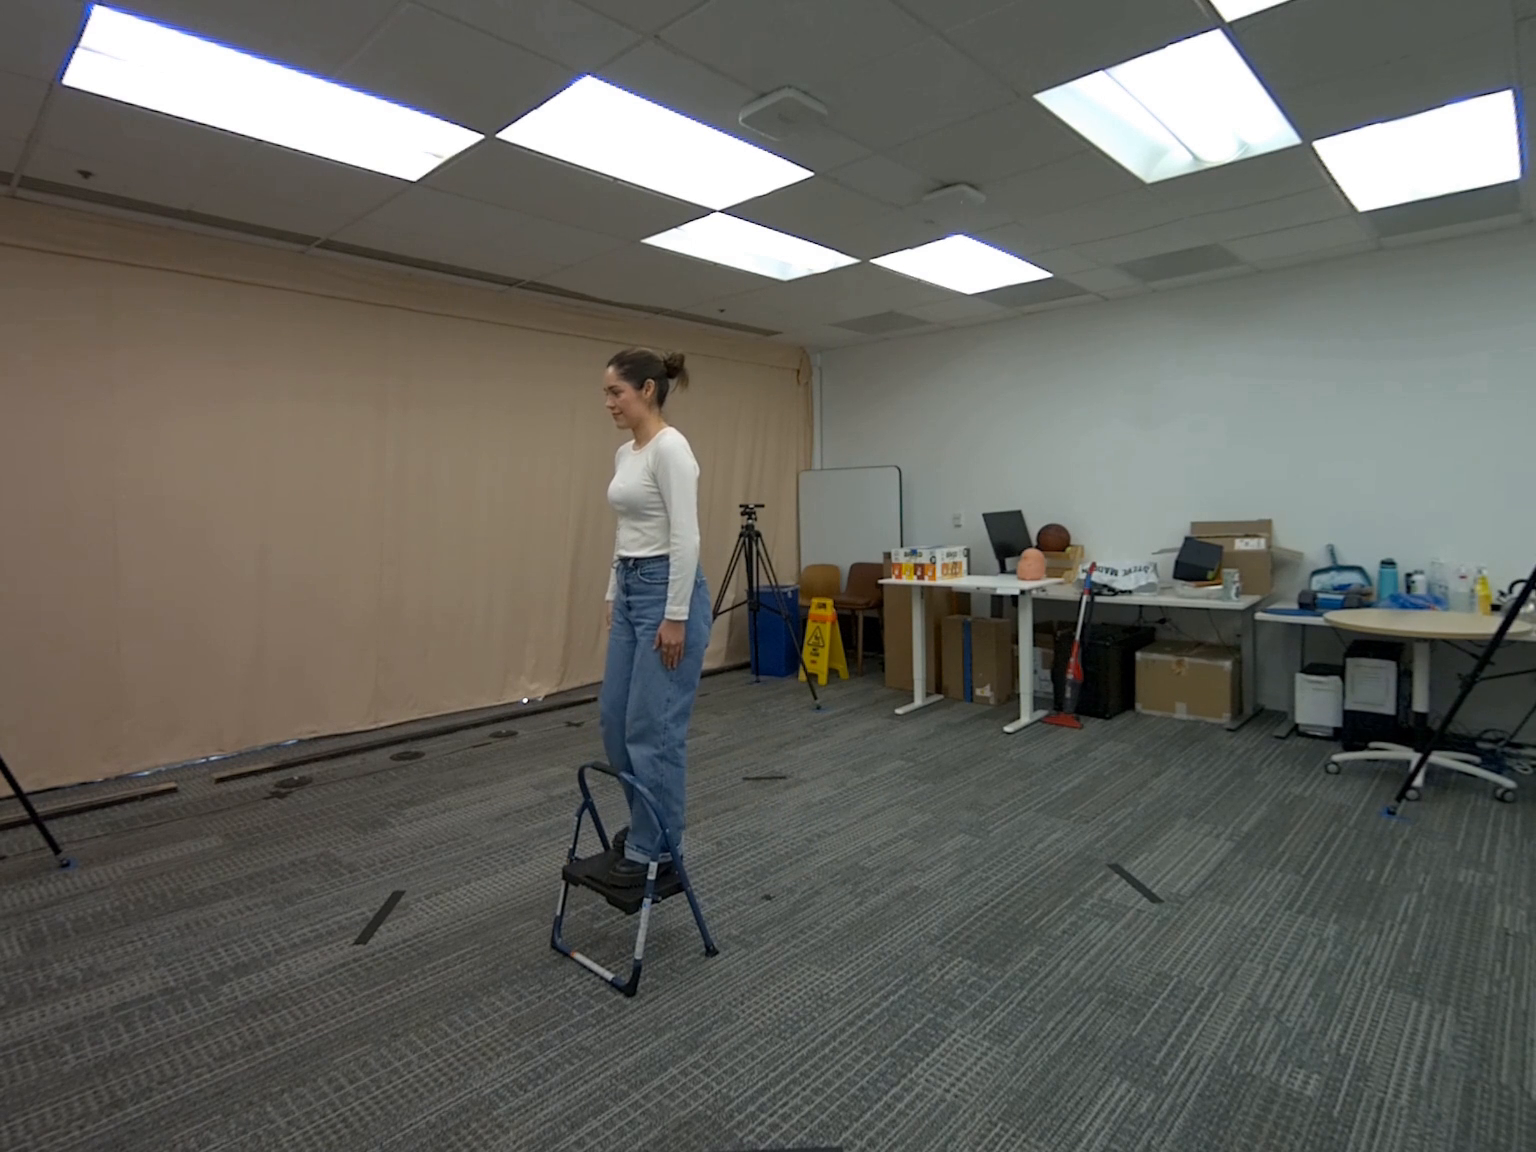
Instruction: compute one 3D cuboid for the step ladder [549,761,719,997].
[{"bbox_3d":[-0.432,0.878,2.636,0.445,0.605,0.339,2,4,43],"label":"step ladder"}]
